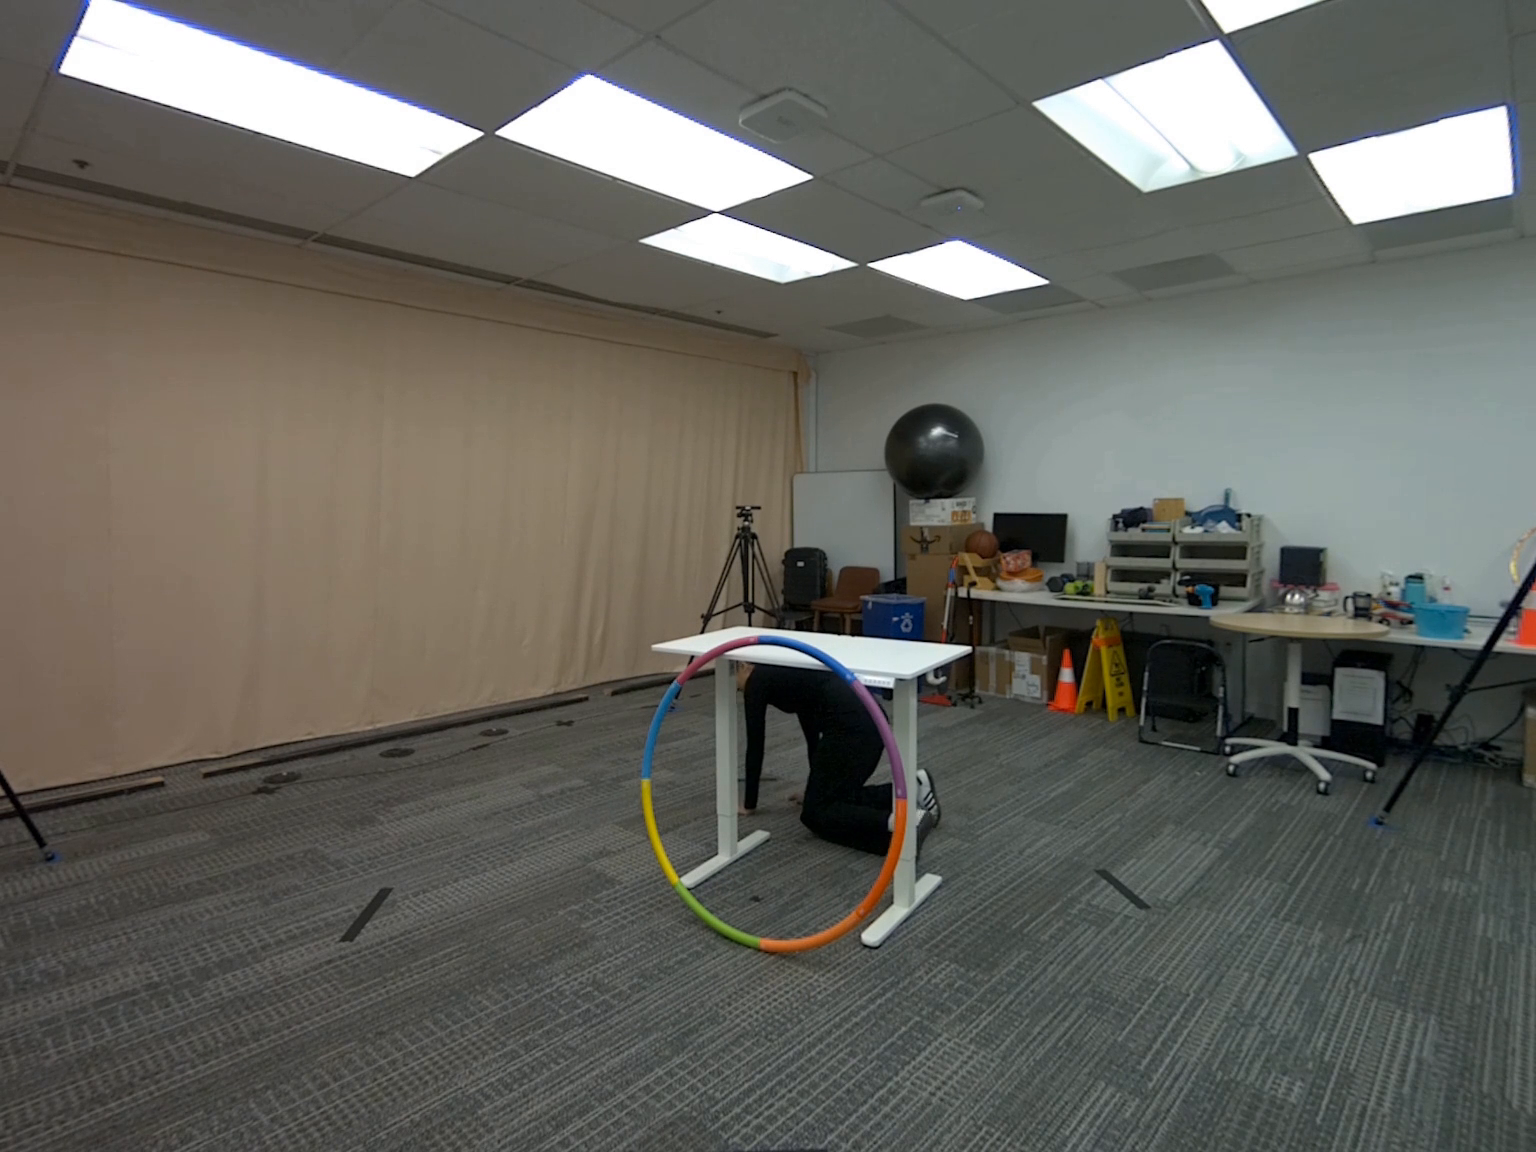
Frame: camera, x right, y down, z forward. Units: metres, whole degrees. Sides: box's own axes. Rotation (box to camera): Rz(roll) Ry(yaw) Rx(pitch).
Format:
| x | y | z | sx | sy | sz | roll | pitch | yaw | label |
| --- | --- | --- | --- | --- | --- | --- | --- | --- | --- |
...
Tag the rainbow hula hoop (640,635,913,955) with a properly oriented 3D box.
| x | y | z | sx | sy | sz | roll | pitch | yaw | label |
| --- | --- | --- | --- | --- | --- | --- | --- | --- | --- |
| -0.021 | 0.682 | 2.728 | 1.009 | 0.982 | 0.034 | 2 | -8 | 34 | rainbow hula hoop |
